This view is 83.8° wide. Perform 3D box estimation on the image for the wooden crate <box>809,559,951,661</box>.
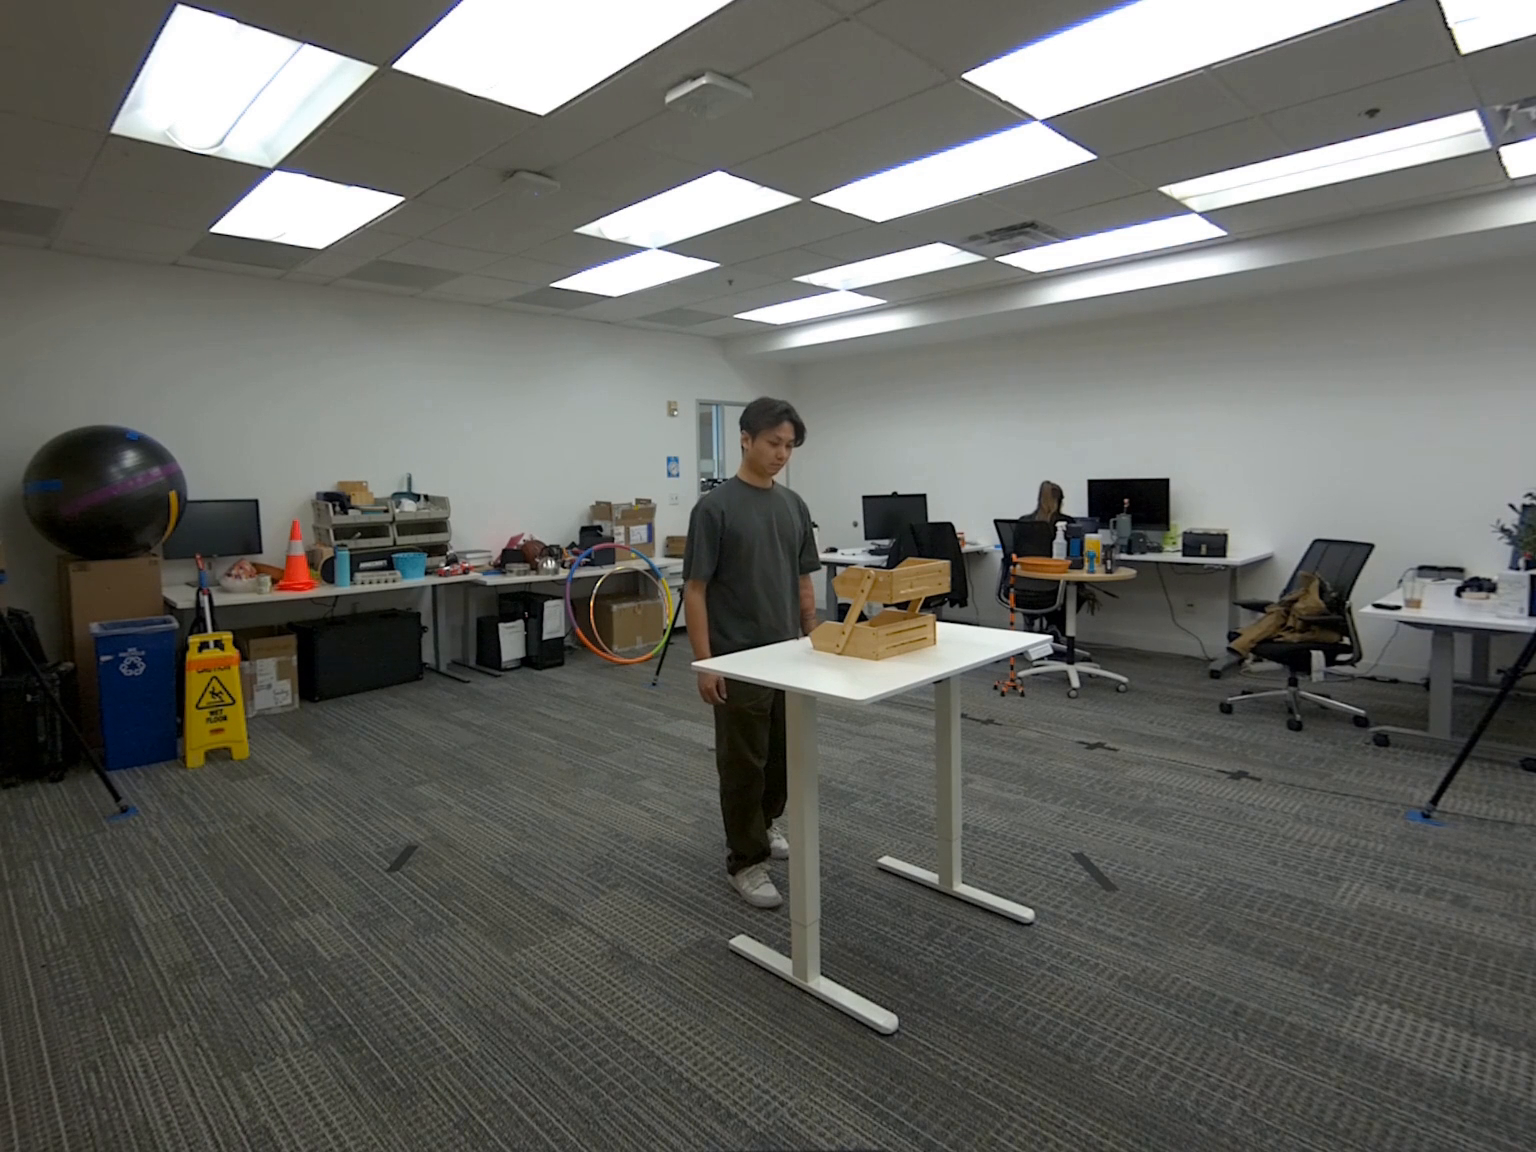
[{"bbox_3d":[0.335,0.084,2.562,0.316,0.272,0.311,-7,9,-44],"label":"wooden crate"}]
